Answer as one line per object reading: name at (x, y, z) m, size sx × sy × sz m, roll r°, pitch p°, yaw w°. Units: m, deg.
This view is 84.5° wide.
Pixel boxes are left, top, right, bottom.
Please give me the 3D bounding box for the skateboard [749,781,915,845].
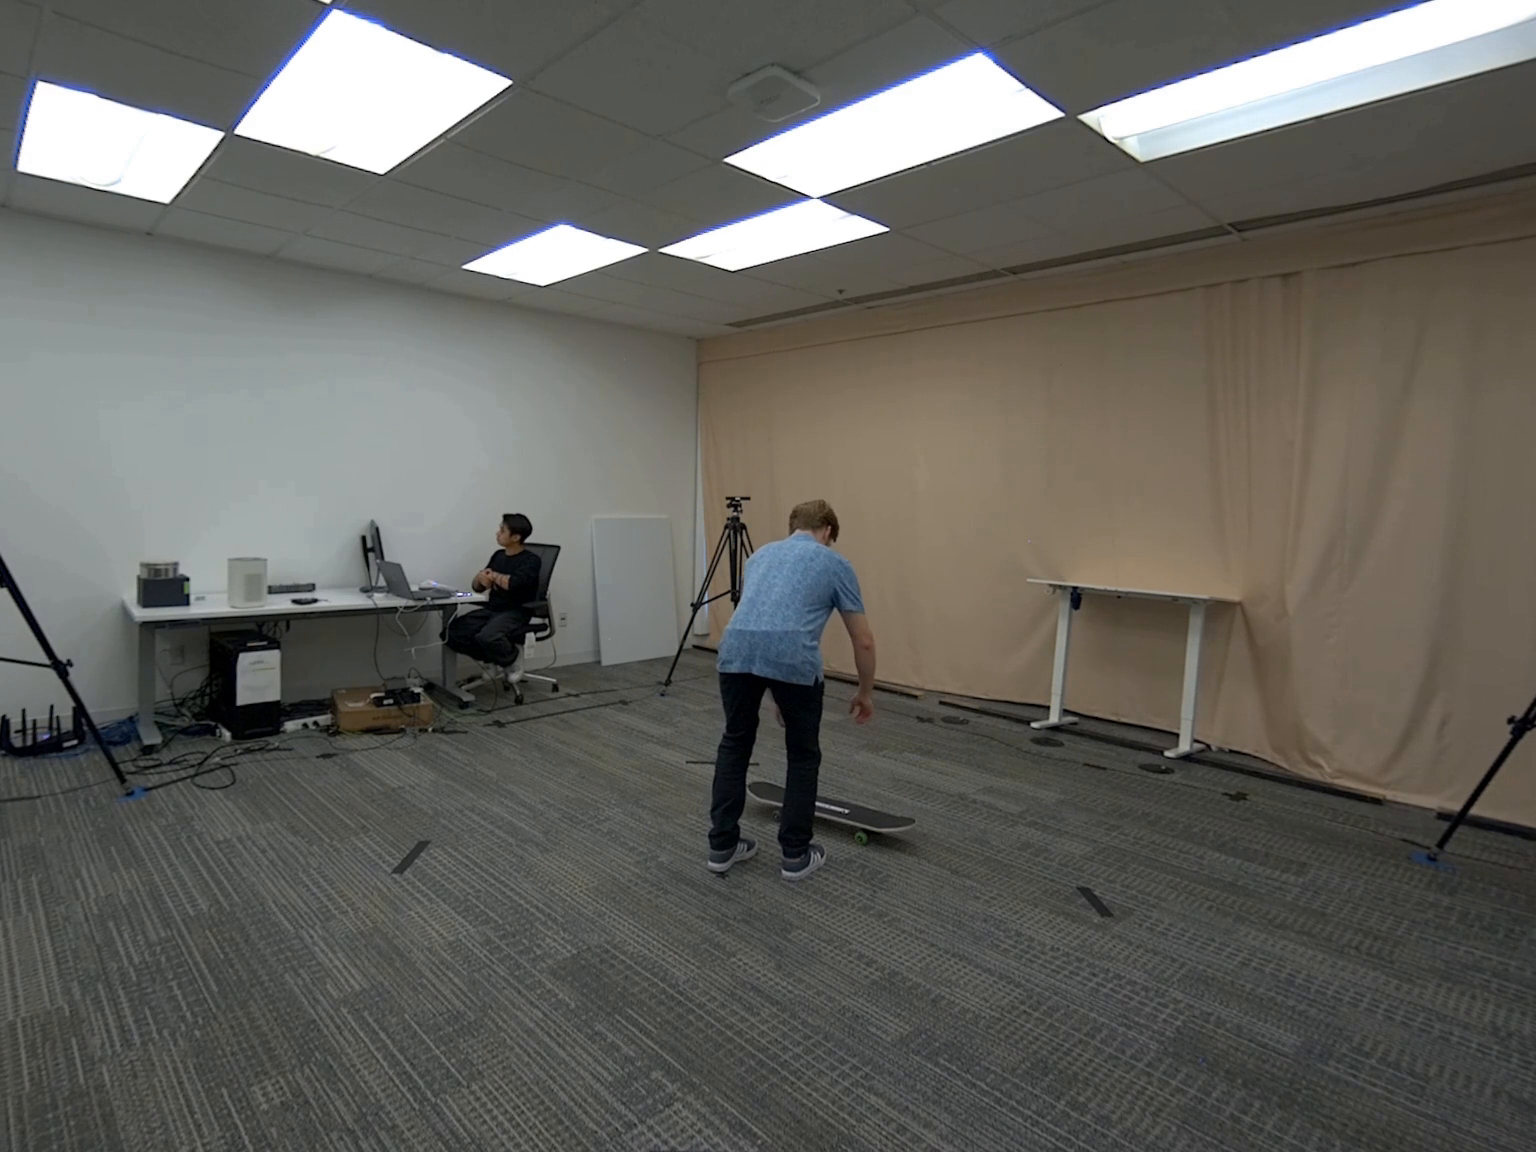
skateboard at (0.241, 1.016, 3.600) m, size 0.804 × 0.110 × 0.189 m, roll 5°, pitch 5°, yaw 34°
